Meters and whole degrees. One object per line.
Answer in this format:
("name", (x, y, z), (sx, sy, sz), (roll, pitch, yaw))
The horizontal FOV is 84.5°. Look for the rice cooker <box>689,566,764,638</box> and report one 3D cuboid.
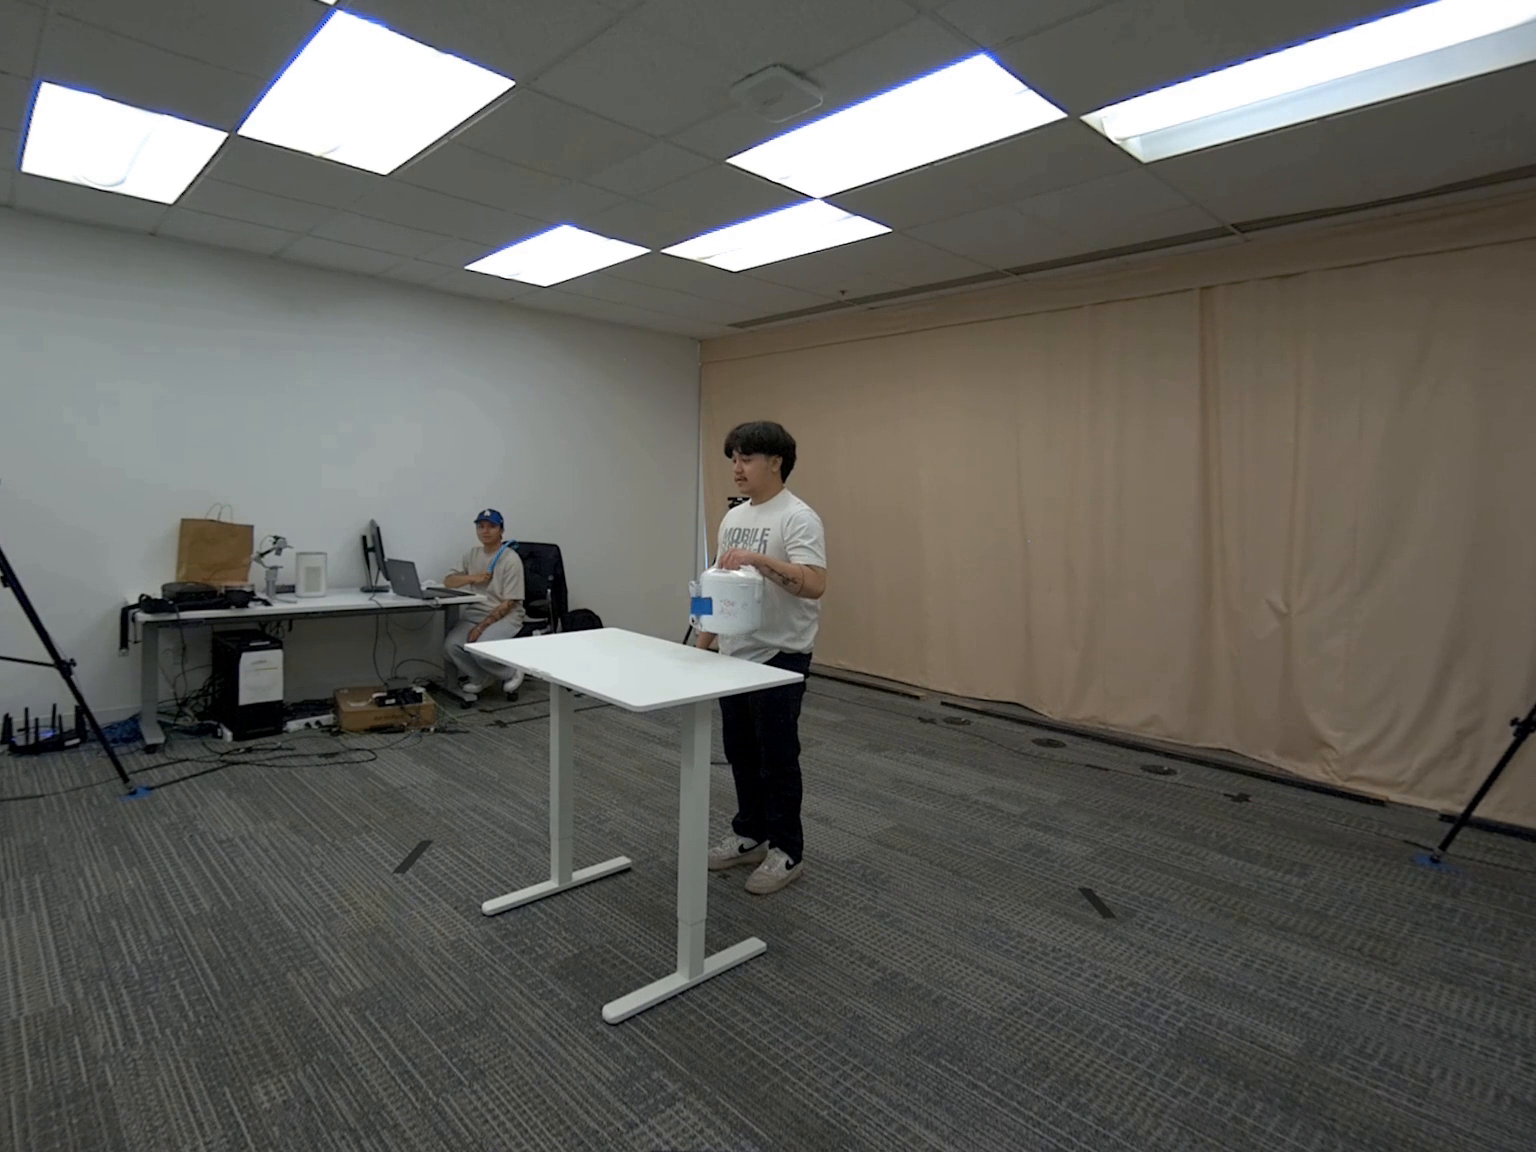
("rice cooker", (-0.135, 0.072, 2.766), (0.225, 0.232, 0.213), (5, 3, 29))
